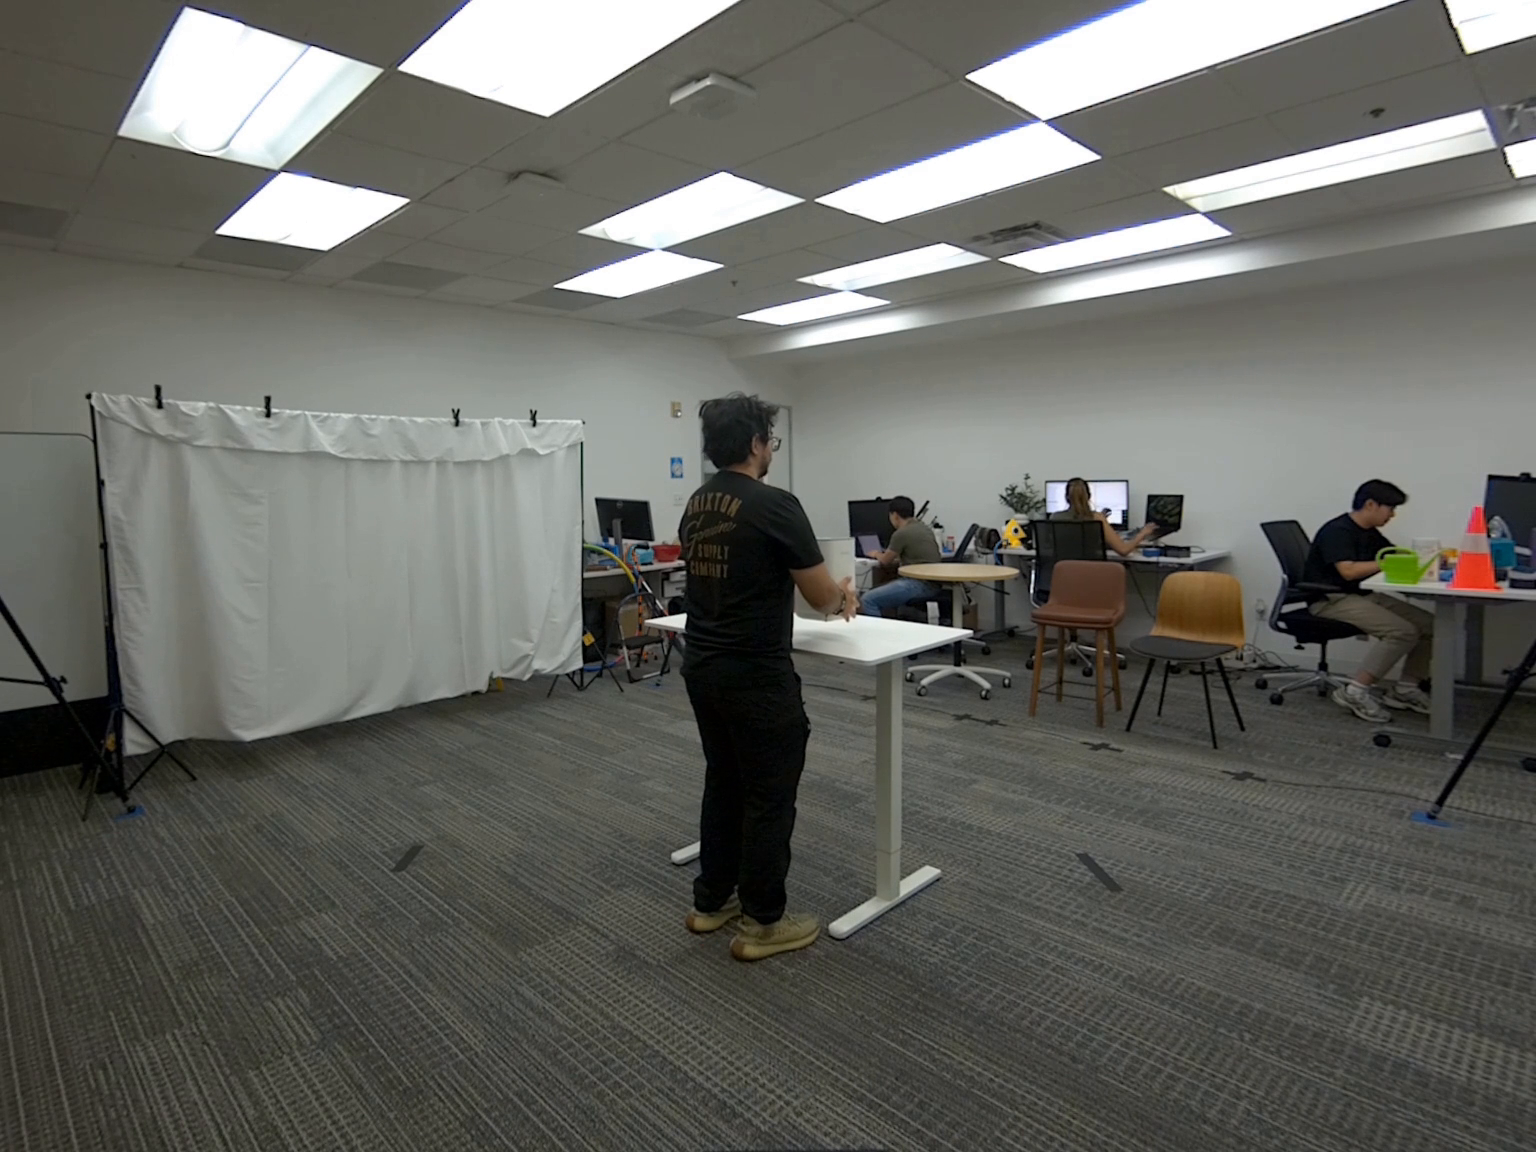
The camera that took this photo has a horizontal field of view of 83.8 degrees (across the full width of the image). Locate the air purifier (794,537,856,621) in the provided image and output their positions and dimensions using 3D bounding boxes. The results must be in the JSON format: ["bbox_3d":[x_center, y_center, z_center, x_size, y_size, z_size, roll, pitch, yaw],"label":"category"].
[{"bbox_3d":[0.188,0.007,2.802,0.166,0.265,0.177,-3,4,-45],"label":"air purifier"}]
